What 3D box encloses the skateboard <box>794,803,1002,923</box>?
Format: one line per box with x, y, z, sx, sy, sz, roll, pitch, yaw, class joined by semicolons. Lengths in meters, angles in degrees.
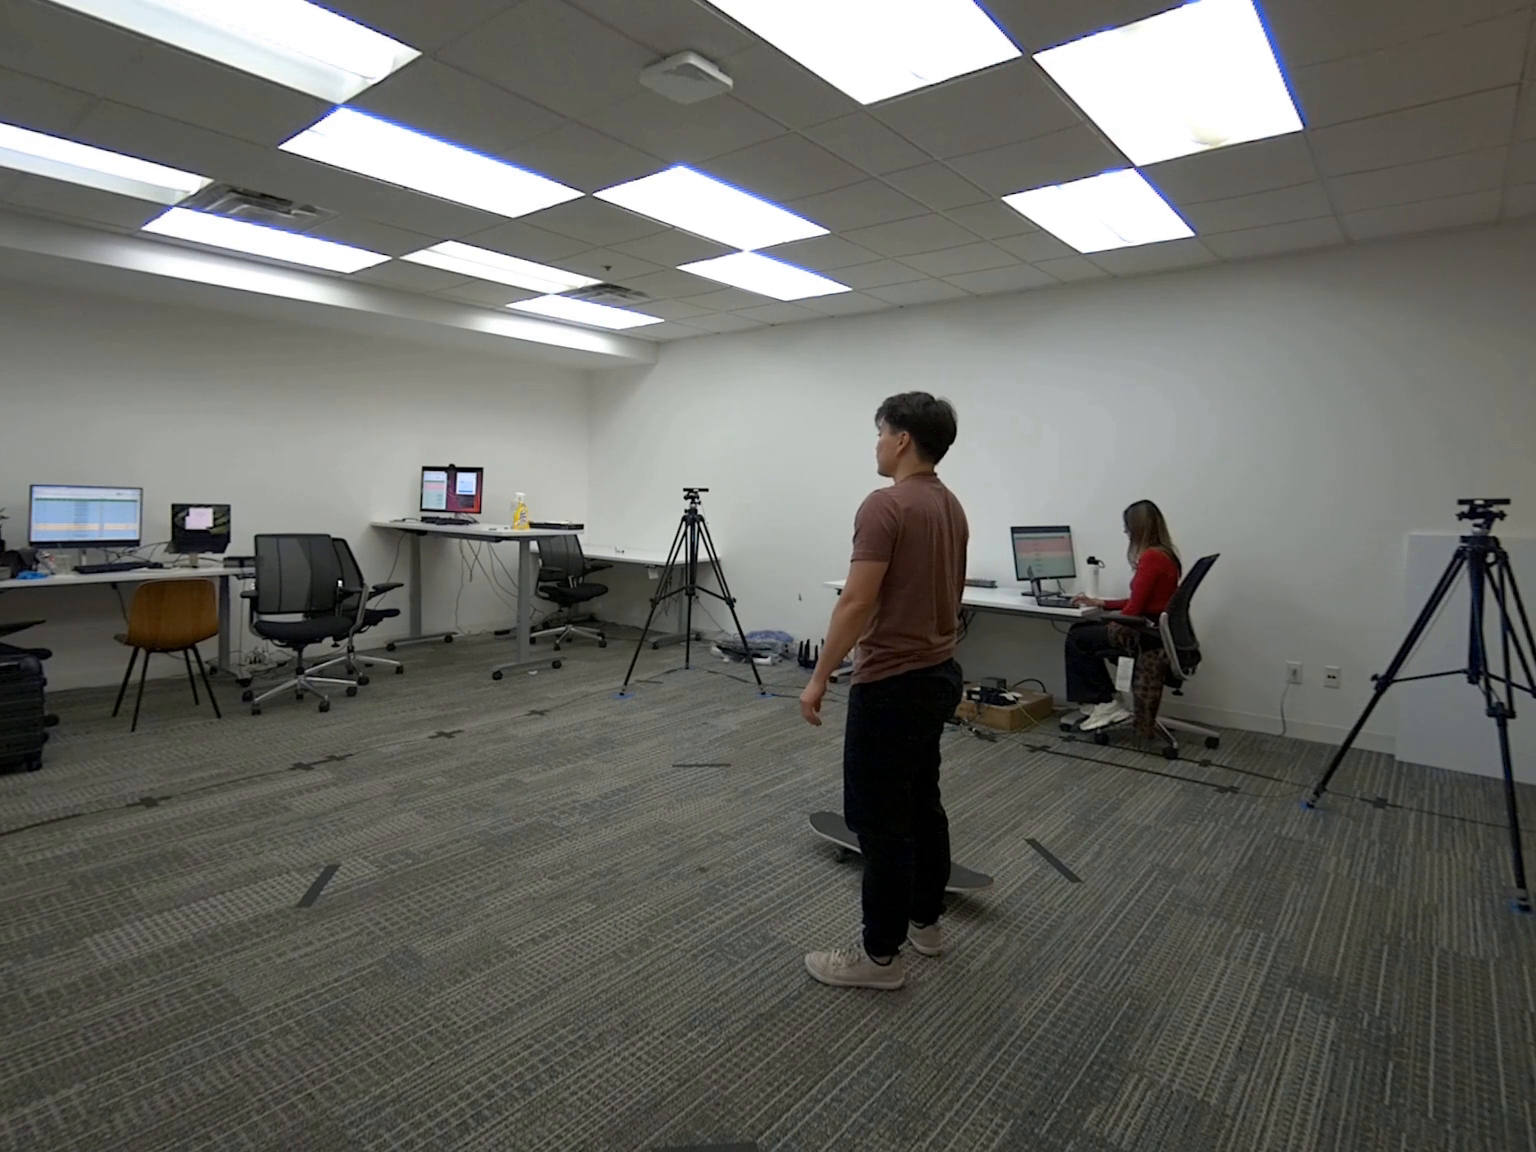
0.448;1.028;3.091;0.187;0.110;0.813;-1;6;-42;skateboard
